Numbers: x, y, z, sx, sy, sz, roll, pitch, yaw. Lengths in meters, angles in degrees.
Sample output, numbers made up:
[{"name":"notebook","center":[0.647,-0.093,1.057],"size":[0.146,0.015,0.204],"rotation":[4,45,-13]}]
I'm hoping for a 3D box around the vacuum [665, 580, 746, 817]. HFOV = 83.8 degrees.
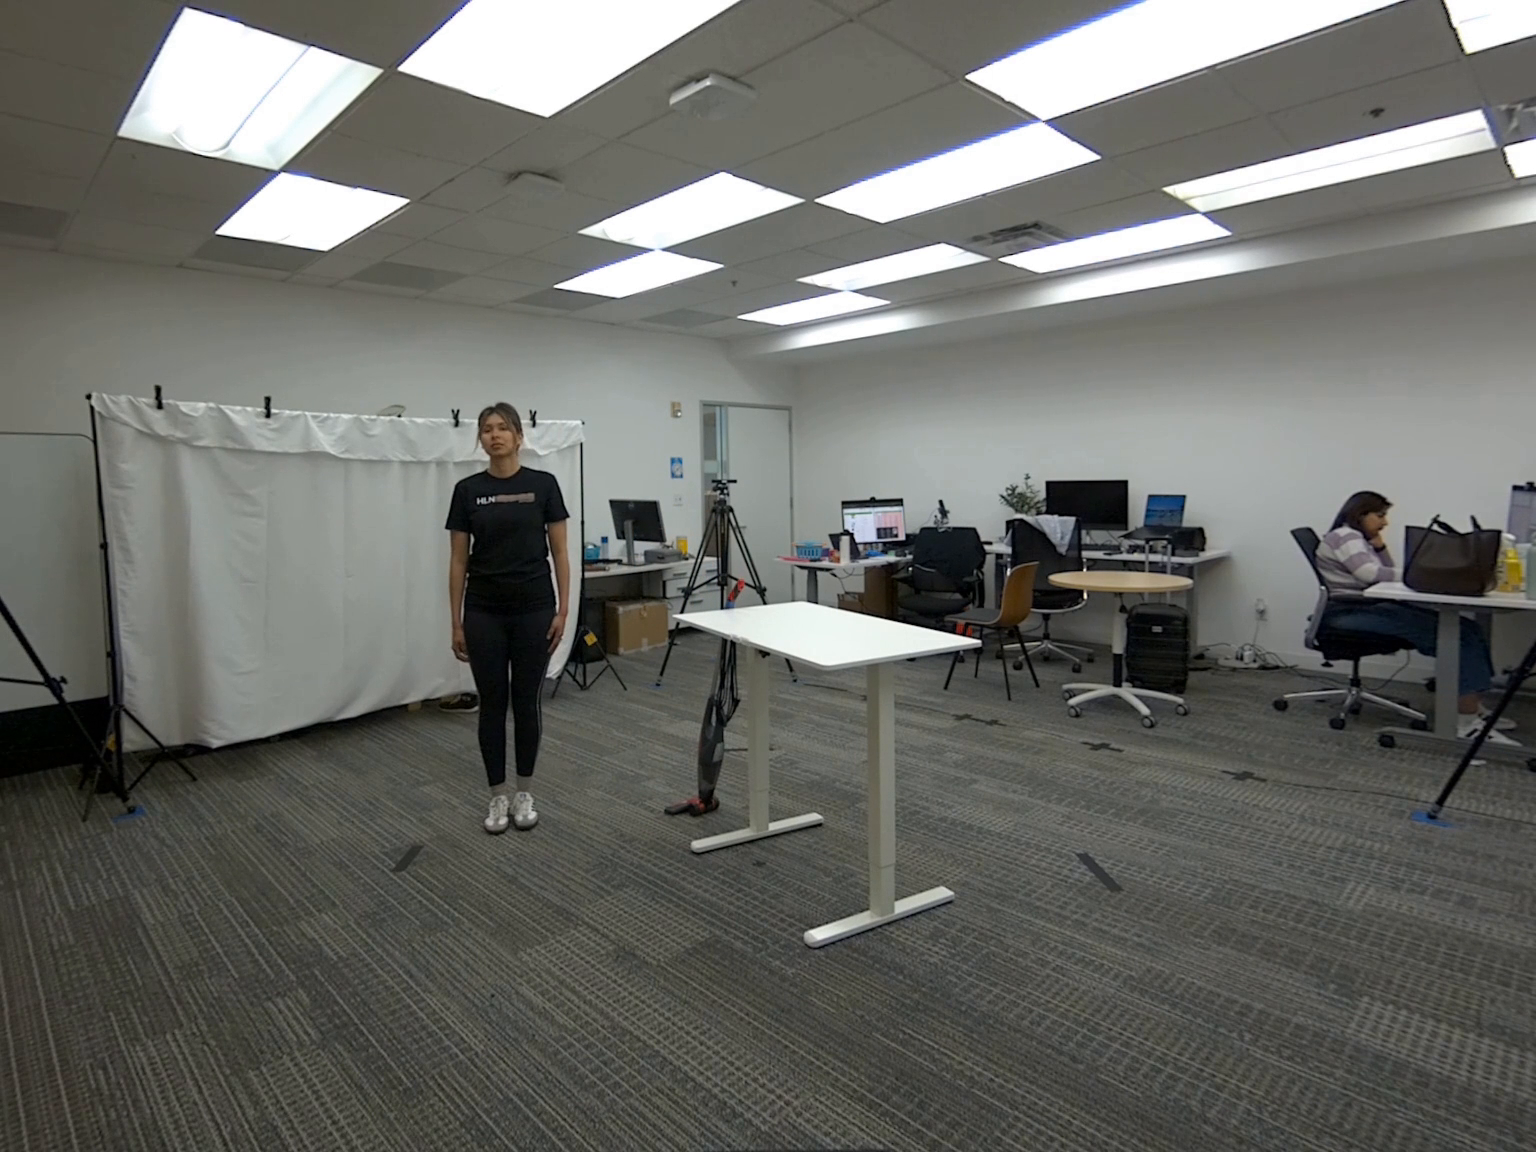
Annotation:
[{"name":"vacuum","center":[-0.209,0.515,3.489],"size":[0.246,1.036,0.149],"rotation":[-7,26,-45]}]
